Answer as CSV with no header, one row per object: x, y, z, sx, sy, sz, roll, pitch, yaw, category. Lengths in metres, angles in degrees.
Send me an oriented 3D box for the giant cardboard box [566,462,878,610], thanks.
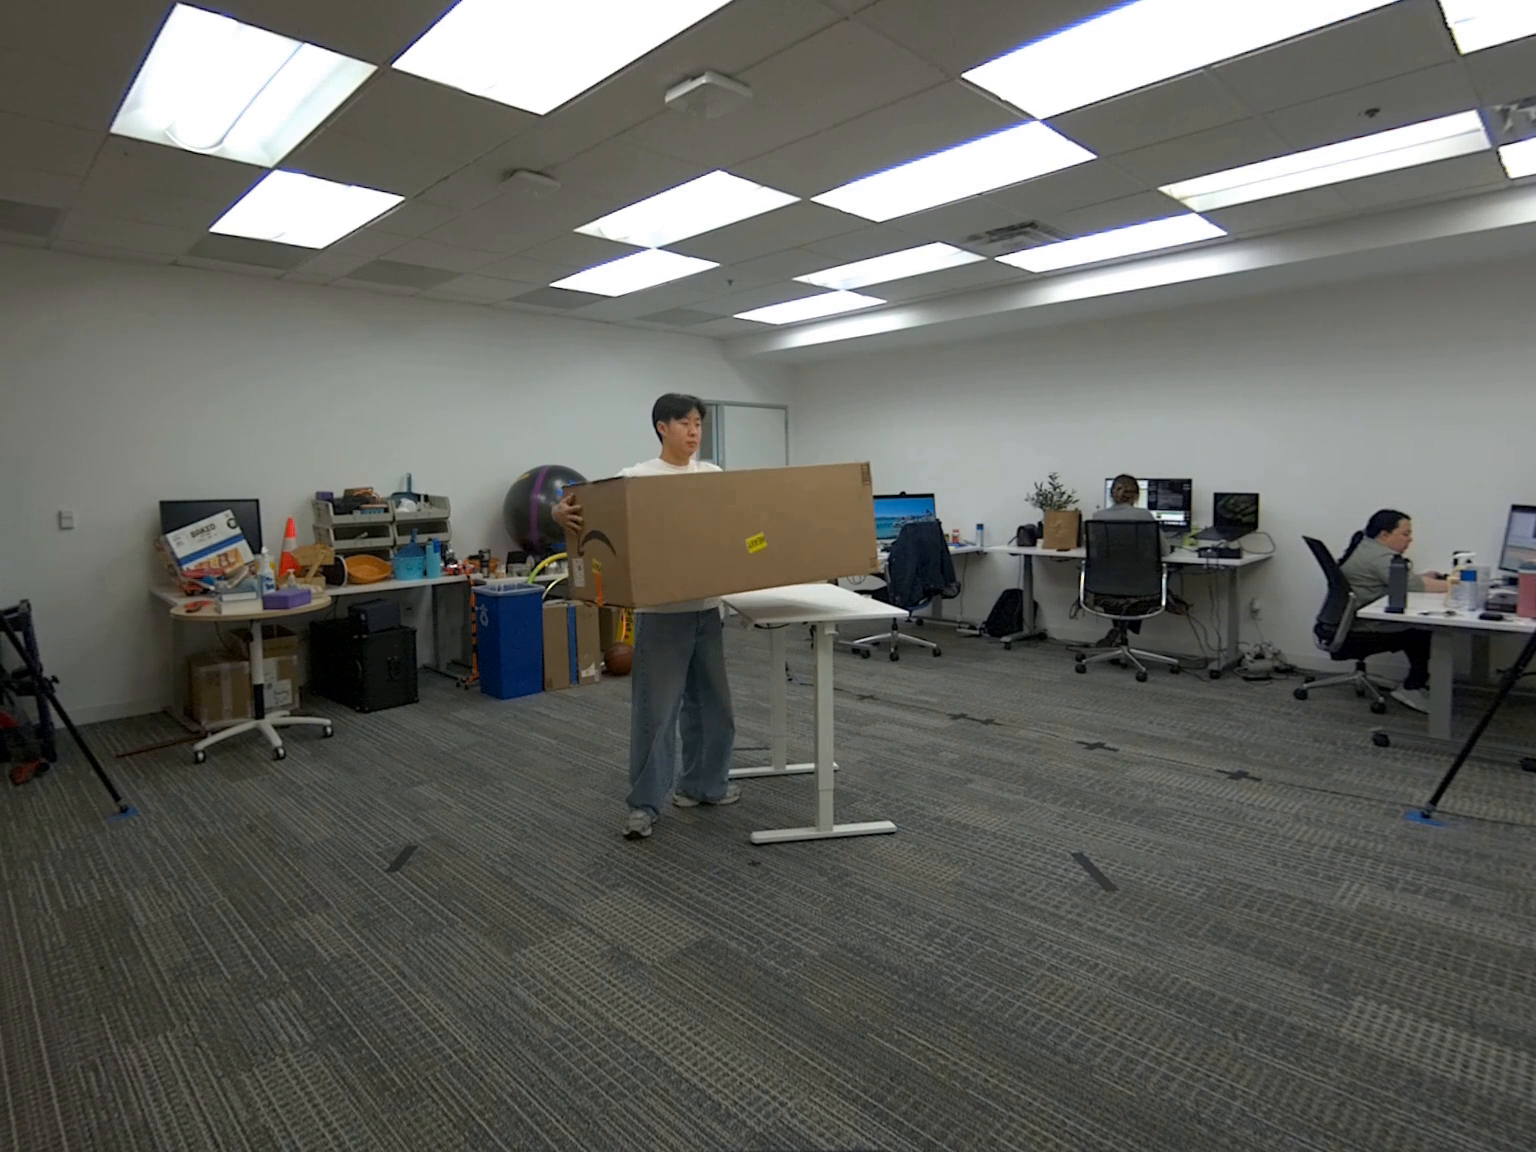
-0.174,-0.163,3.191,1.002,0.425,0.592,-7,4,-32,giant cardboard box
